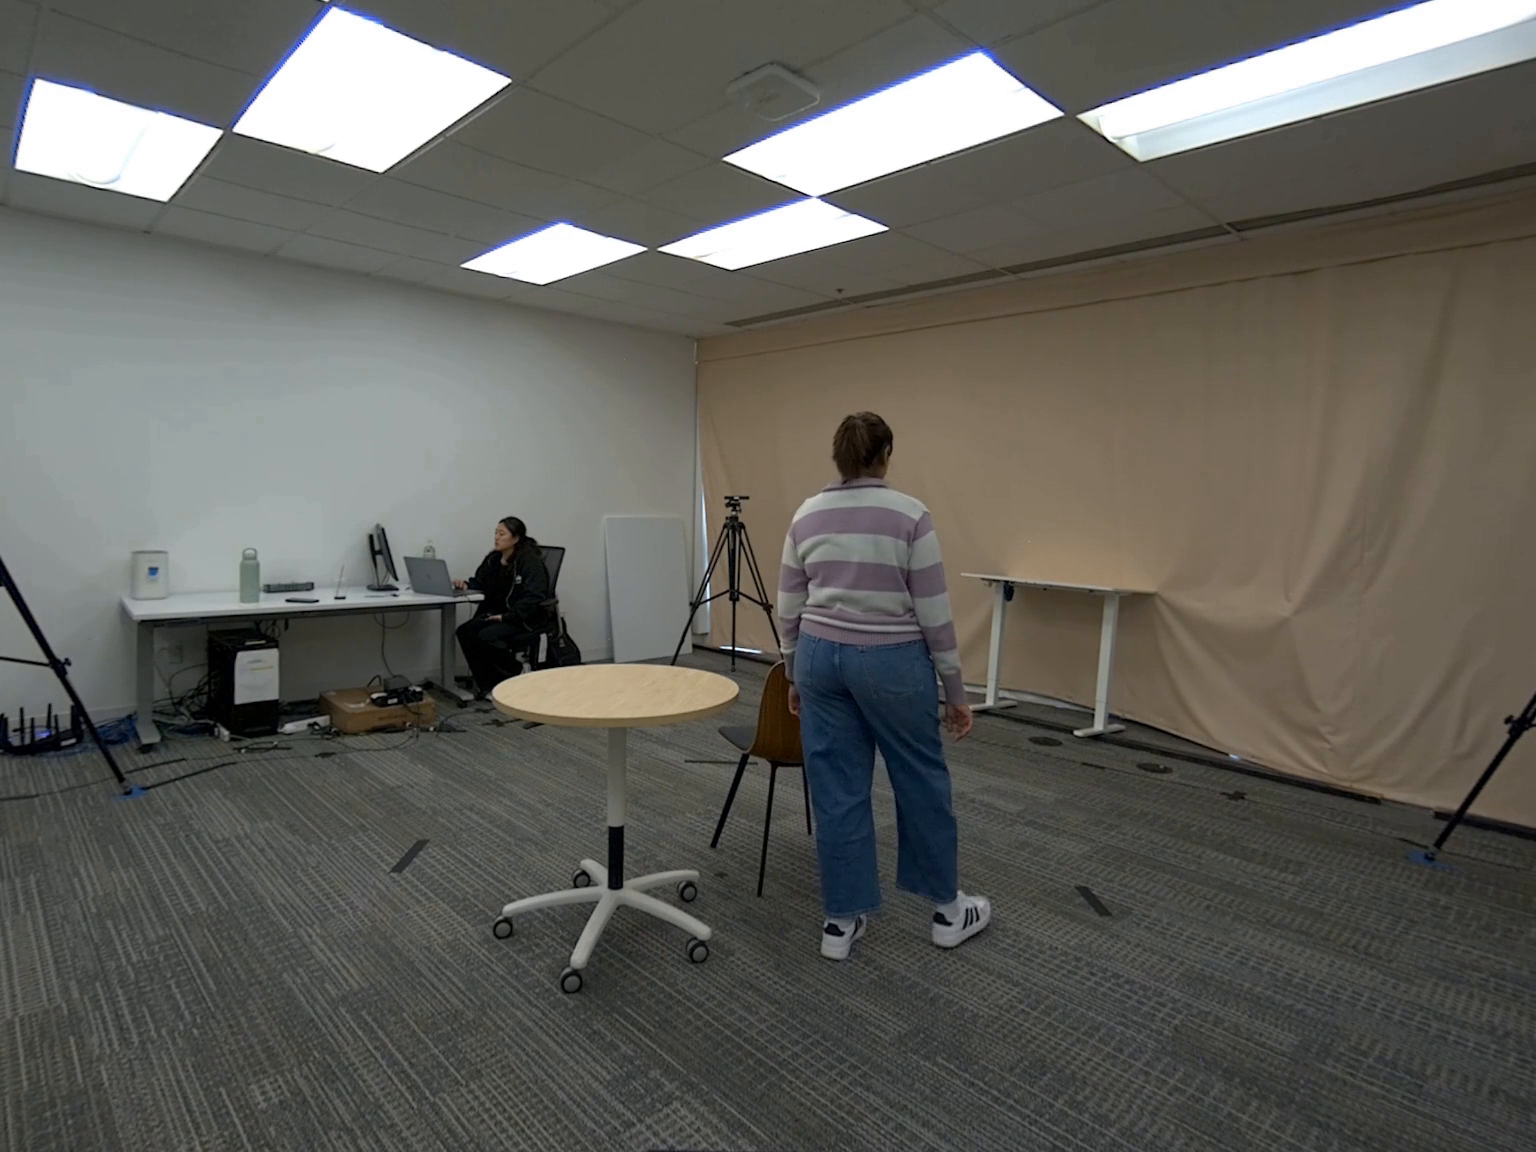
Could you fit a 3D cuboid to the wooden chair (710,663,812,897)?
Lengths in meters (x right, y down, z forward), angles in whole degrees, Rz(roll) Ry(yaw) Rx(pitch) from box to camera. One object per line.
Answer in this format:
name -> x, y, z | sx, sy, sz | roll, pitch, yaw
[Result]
wooden chair -> 0.073, 0.672, 3.205 | 0.470, 0.873, 0.535 | 0, 8, -25
